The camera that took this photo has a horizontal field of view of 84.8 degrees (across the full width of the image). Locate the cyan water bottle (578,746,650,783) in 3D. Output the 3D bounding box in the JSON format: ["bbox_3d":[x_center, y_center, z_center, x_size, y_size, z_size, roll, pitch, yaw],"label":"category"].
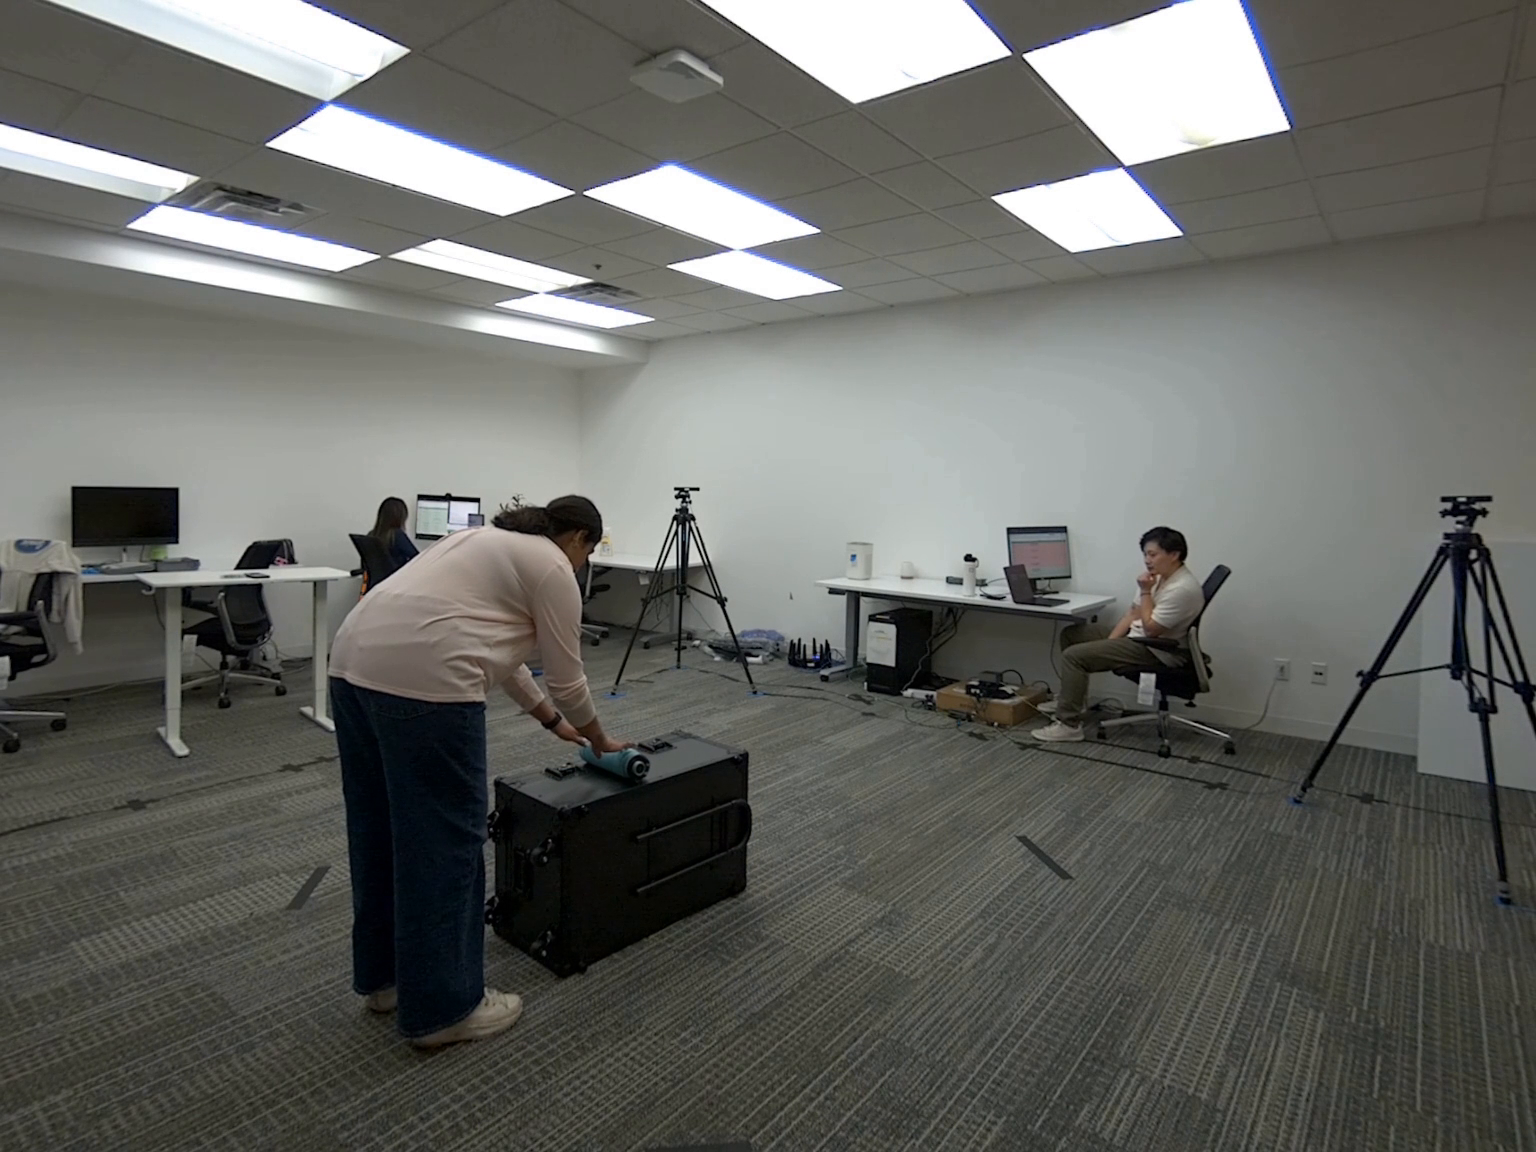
[{"bbox_3d":[-0.496,0.569,2.697,0.293,0.092,0.089,7,7,42],"label":"cyan water bottle"}]
